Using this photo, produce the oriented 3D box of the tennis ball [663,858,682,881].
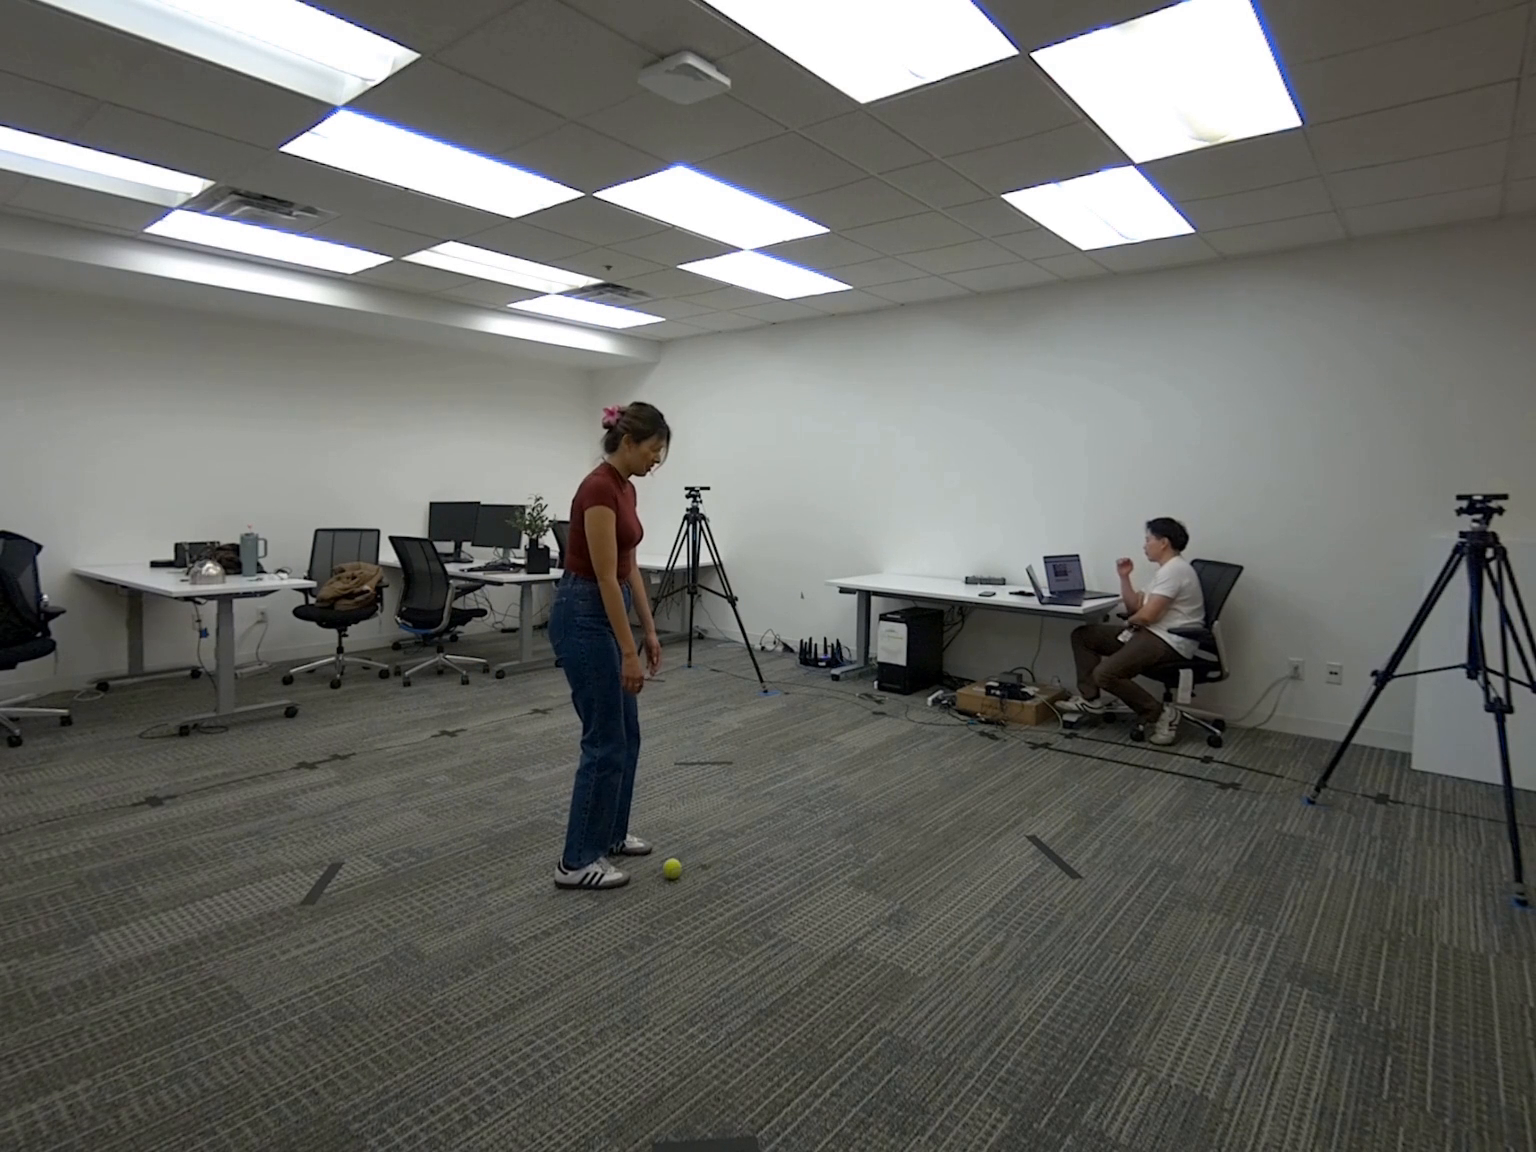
[{"bbox_3d":[-0.342,1.024,3.013,0.066,0.066,0.067,1,4,-2],"label":"tennis ball"}]
